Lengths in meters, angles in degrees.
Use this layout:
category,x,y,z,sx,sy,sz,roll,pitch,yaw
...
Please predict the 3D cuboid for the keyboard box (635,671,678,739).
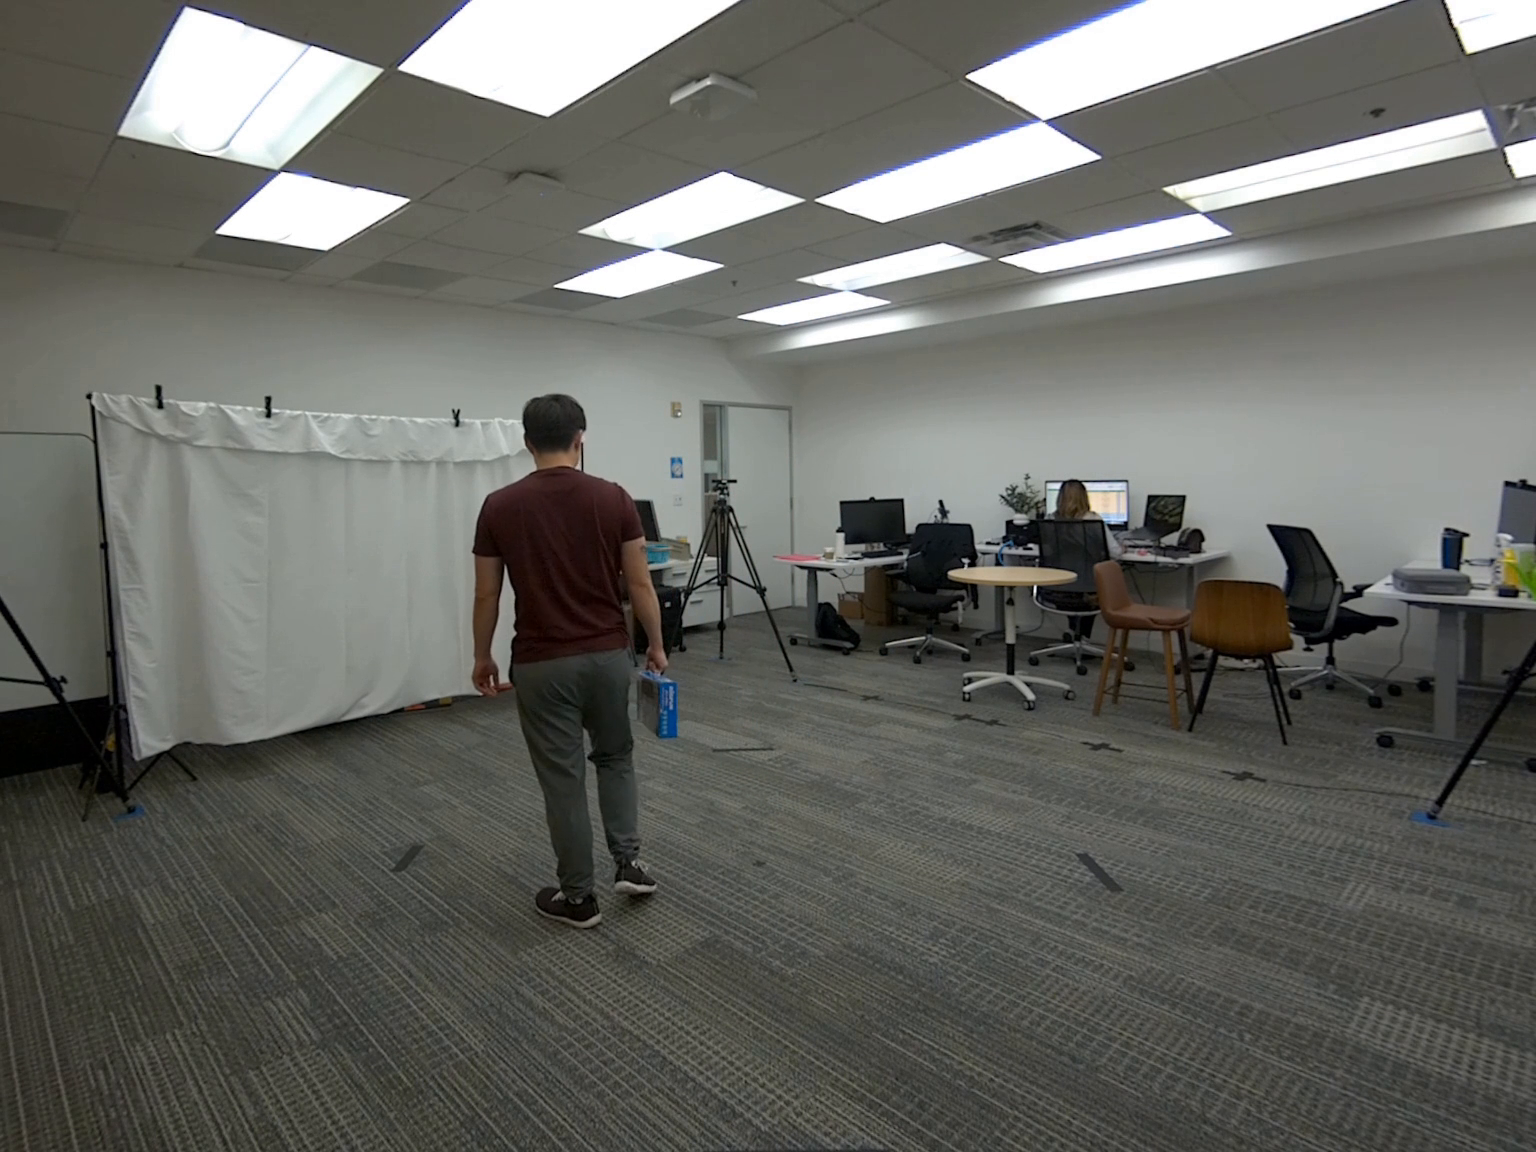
category,x,y,z,sx,sy,sz,roll,pitch,yaw
keyboard box,-0.371,0.418,2.849,0.058,0.176,0.443,0,-2,-19
